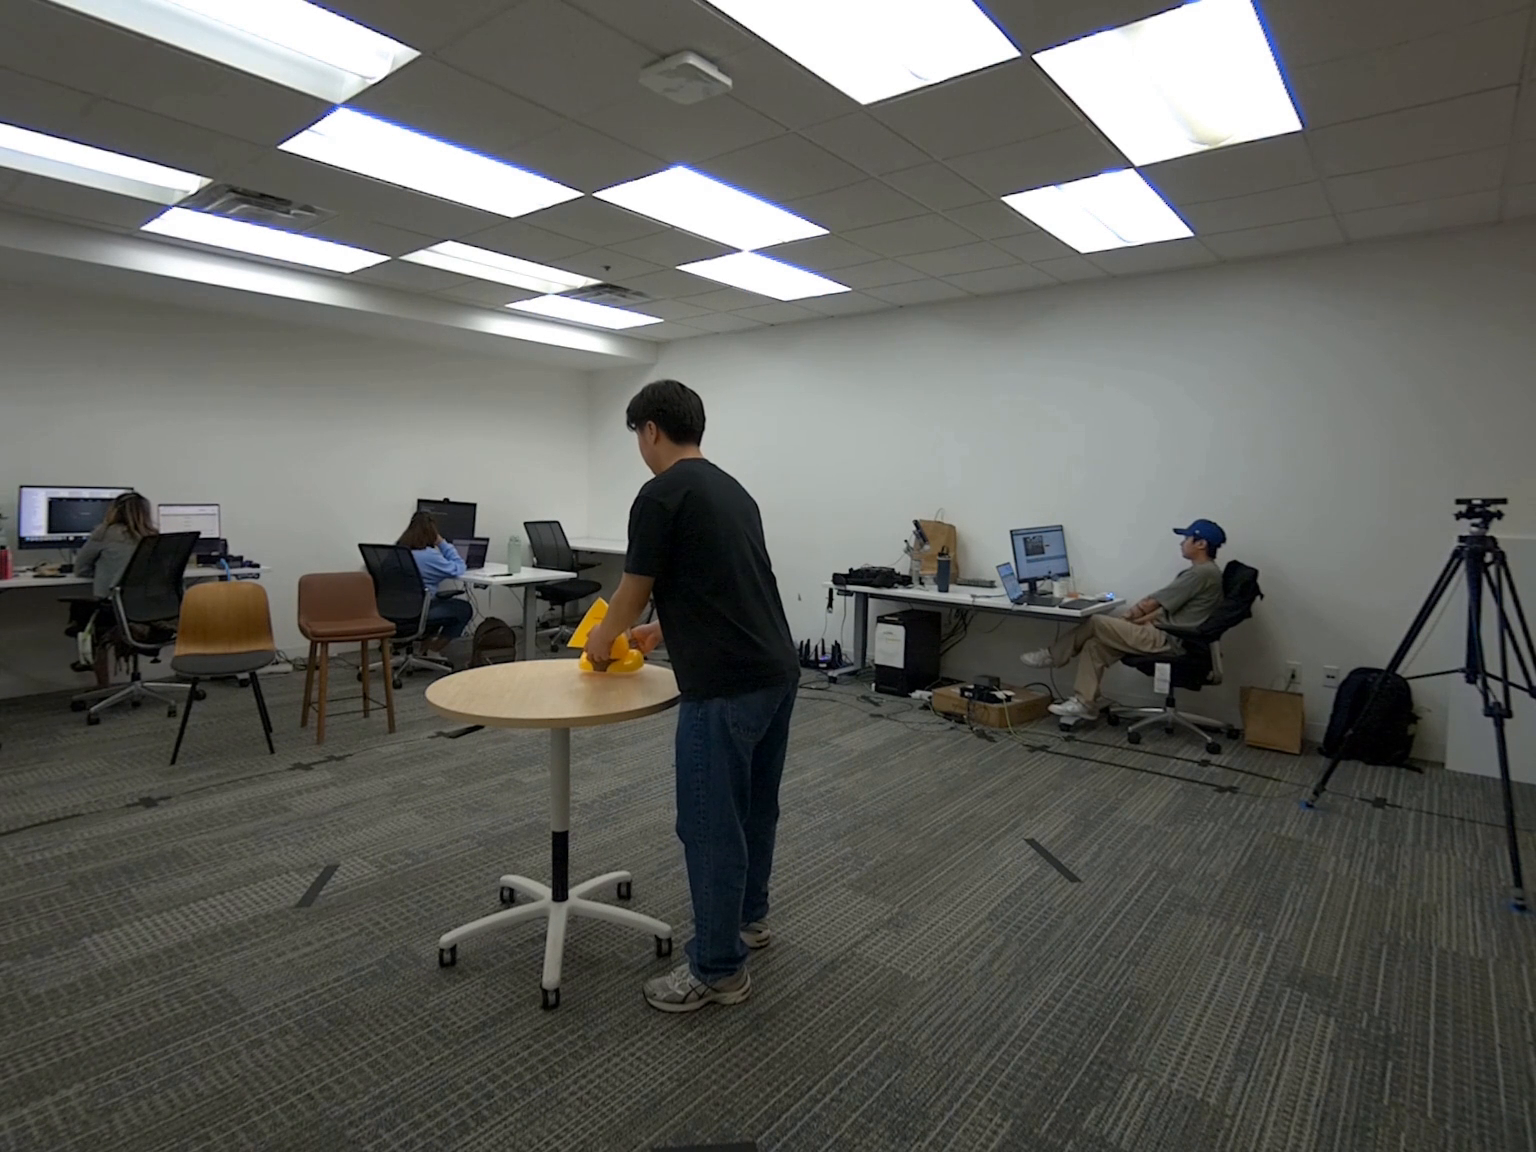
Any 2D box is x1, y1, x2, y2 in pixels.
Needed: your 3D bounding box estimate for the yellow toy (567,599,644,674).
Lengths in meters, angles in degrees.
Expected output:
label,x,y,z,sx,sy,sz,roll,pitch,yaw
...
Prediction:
label,x,y,z,sx,sy,sz,roll,pitch,yaw
yellow toy,-0.523,0.173,2.682,0.209,0.229,0.190,1,6,19
